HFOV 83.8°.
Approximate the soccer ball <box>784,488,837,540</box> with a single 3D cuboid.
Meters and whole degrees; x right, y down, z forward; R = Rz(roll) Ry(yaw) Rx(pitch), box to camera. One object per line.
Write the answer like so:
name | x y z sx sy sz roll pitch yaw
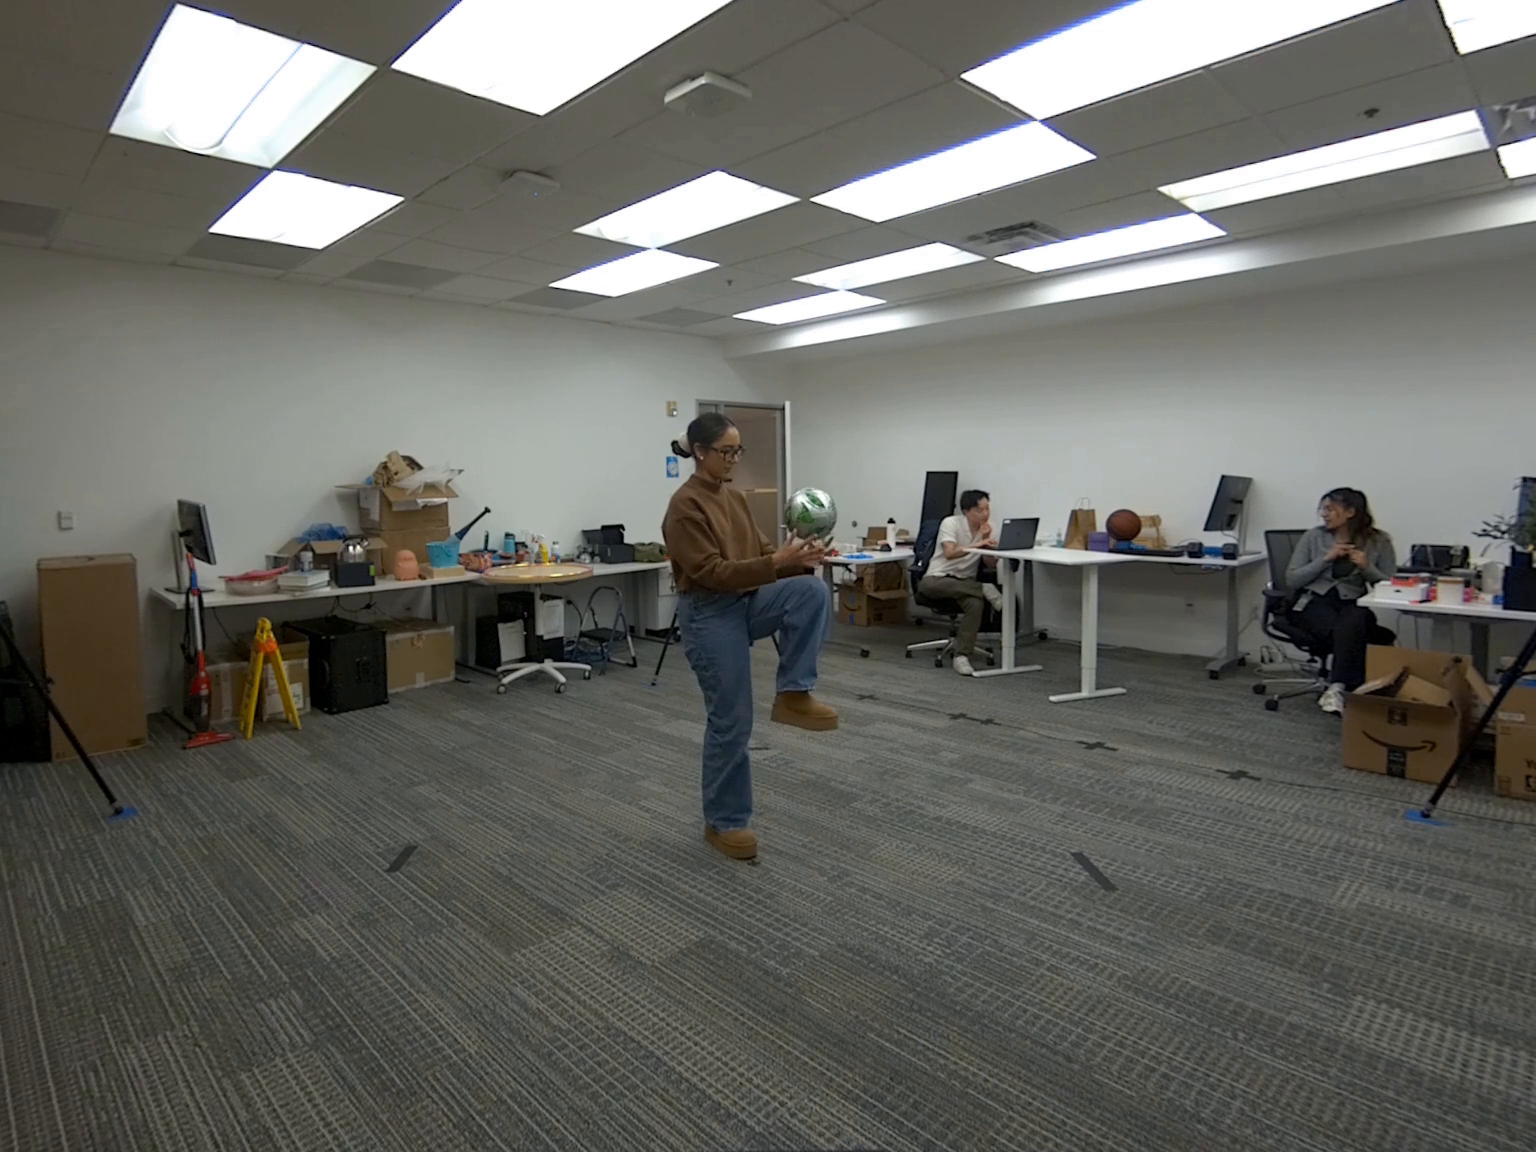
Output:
soccer ball | 0.161 -0.187 3.035 0.187 0.187 0.188 -1 5 -2
